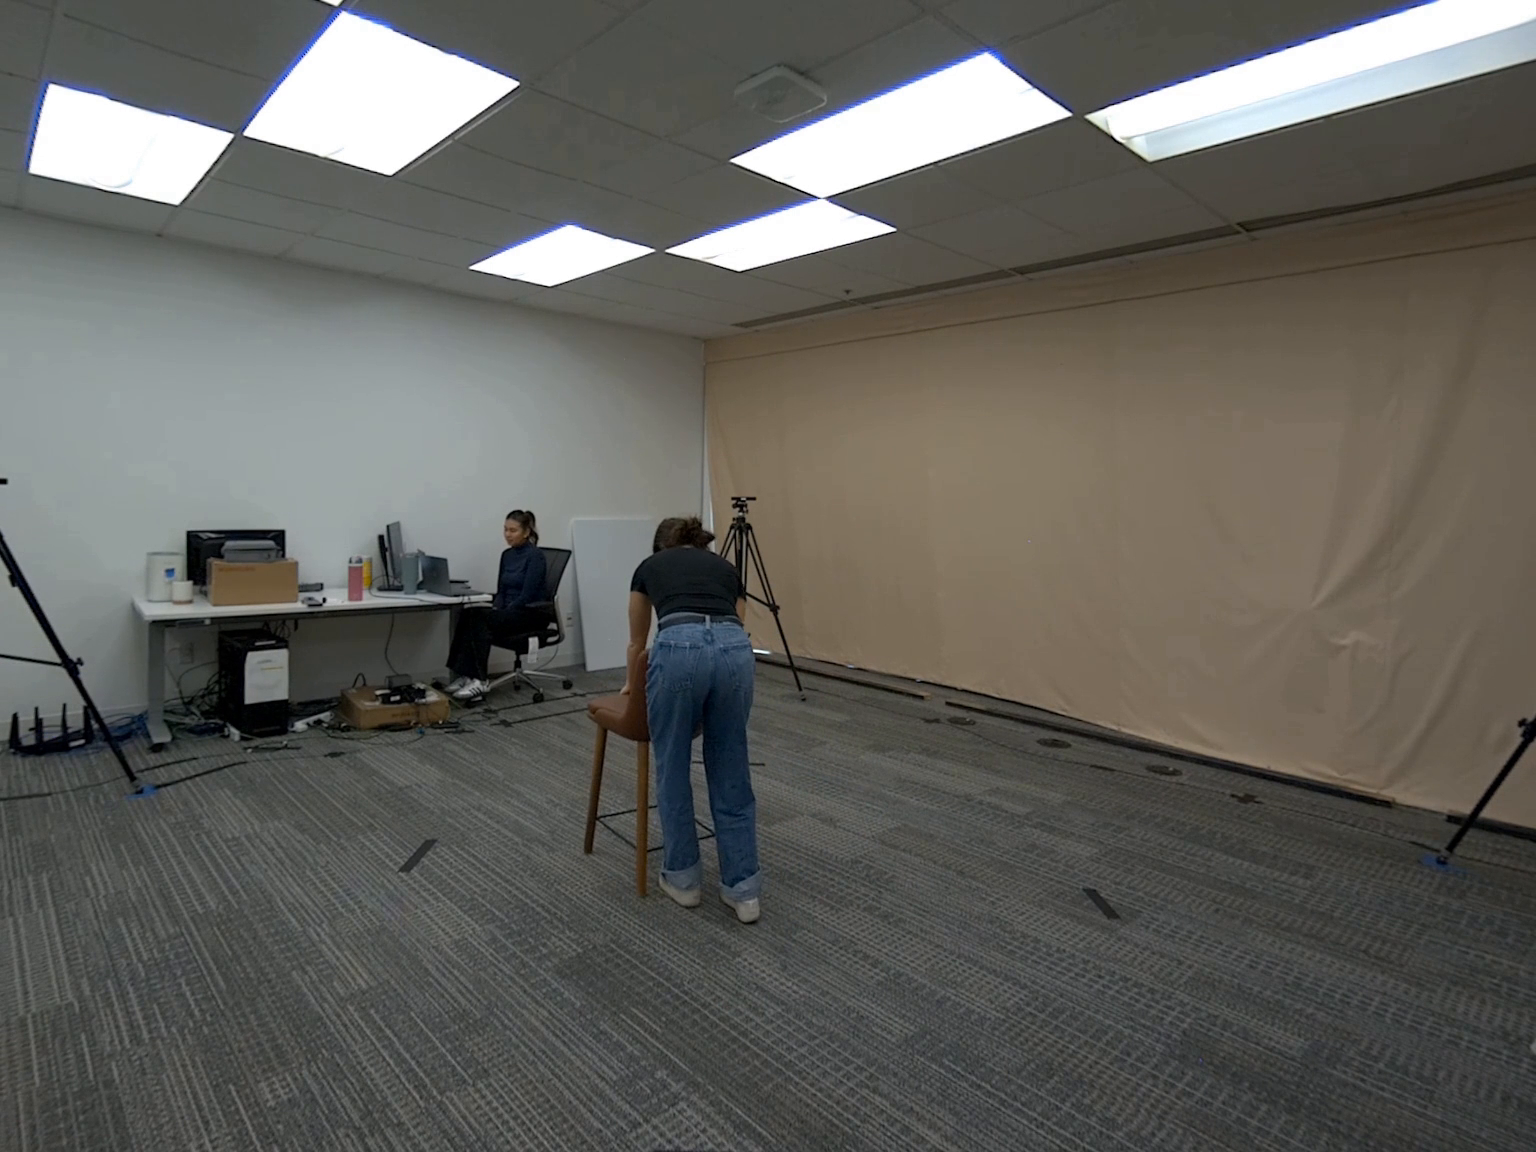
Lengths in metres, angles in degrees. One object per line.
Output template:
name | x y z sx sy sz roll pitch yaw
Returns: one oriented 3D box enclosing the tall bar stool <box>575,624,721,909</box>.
tall bar stool | -0.413 0.656 3.177 0.447 0.886 0.479 -2 6 -35
